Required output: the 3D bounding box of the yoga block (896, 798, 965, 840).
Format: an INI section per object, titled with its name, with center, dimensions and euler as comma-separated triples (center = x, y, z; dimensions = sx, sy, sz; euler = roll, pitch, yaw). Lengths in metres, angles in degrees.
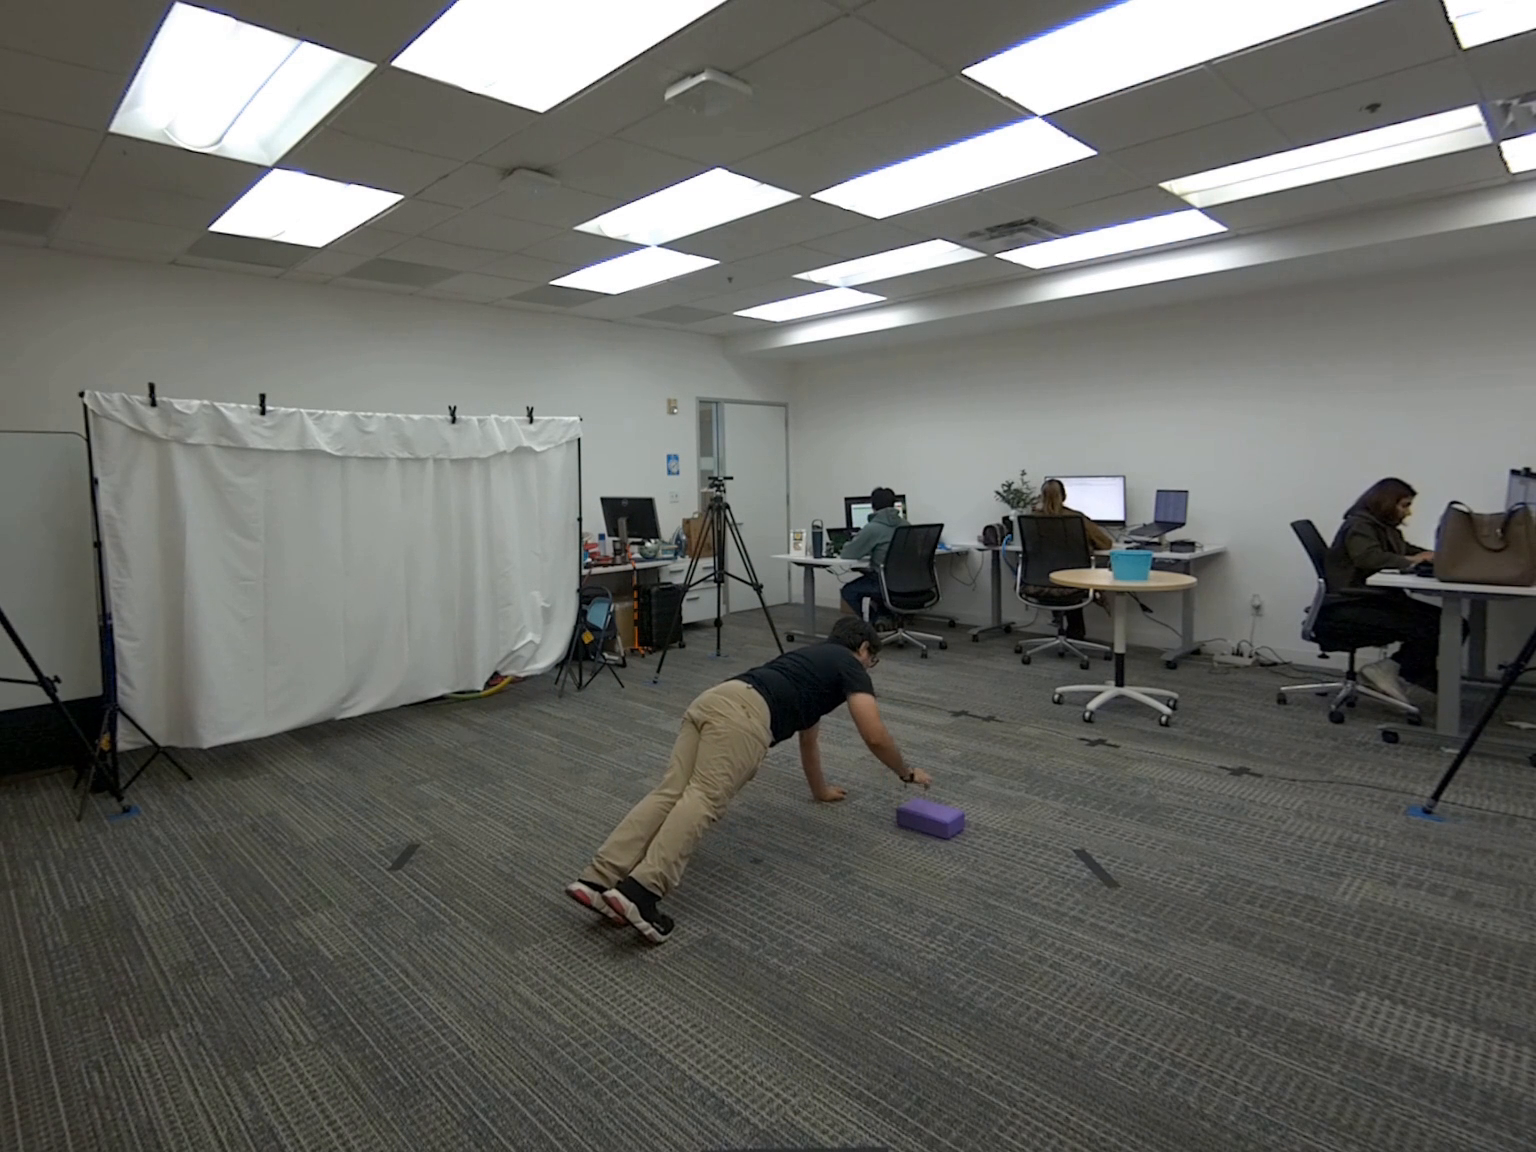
[yoga block]
center = 0.638, 0.950, 3.370
dimensions = 0.236, 0.076, 0.145
euler = 4, 7, 42
